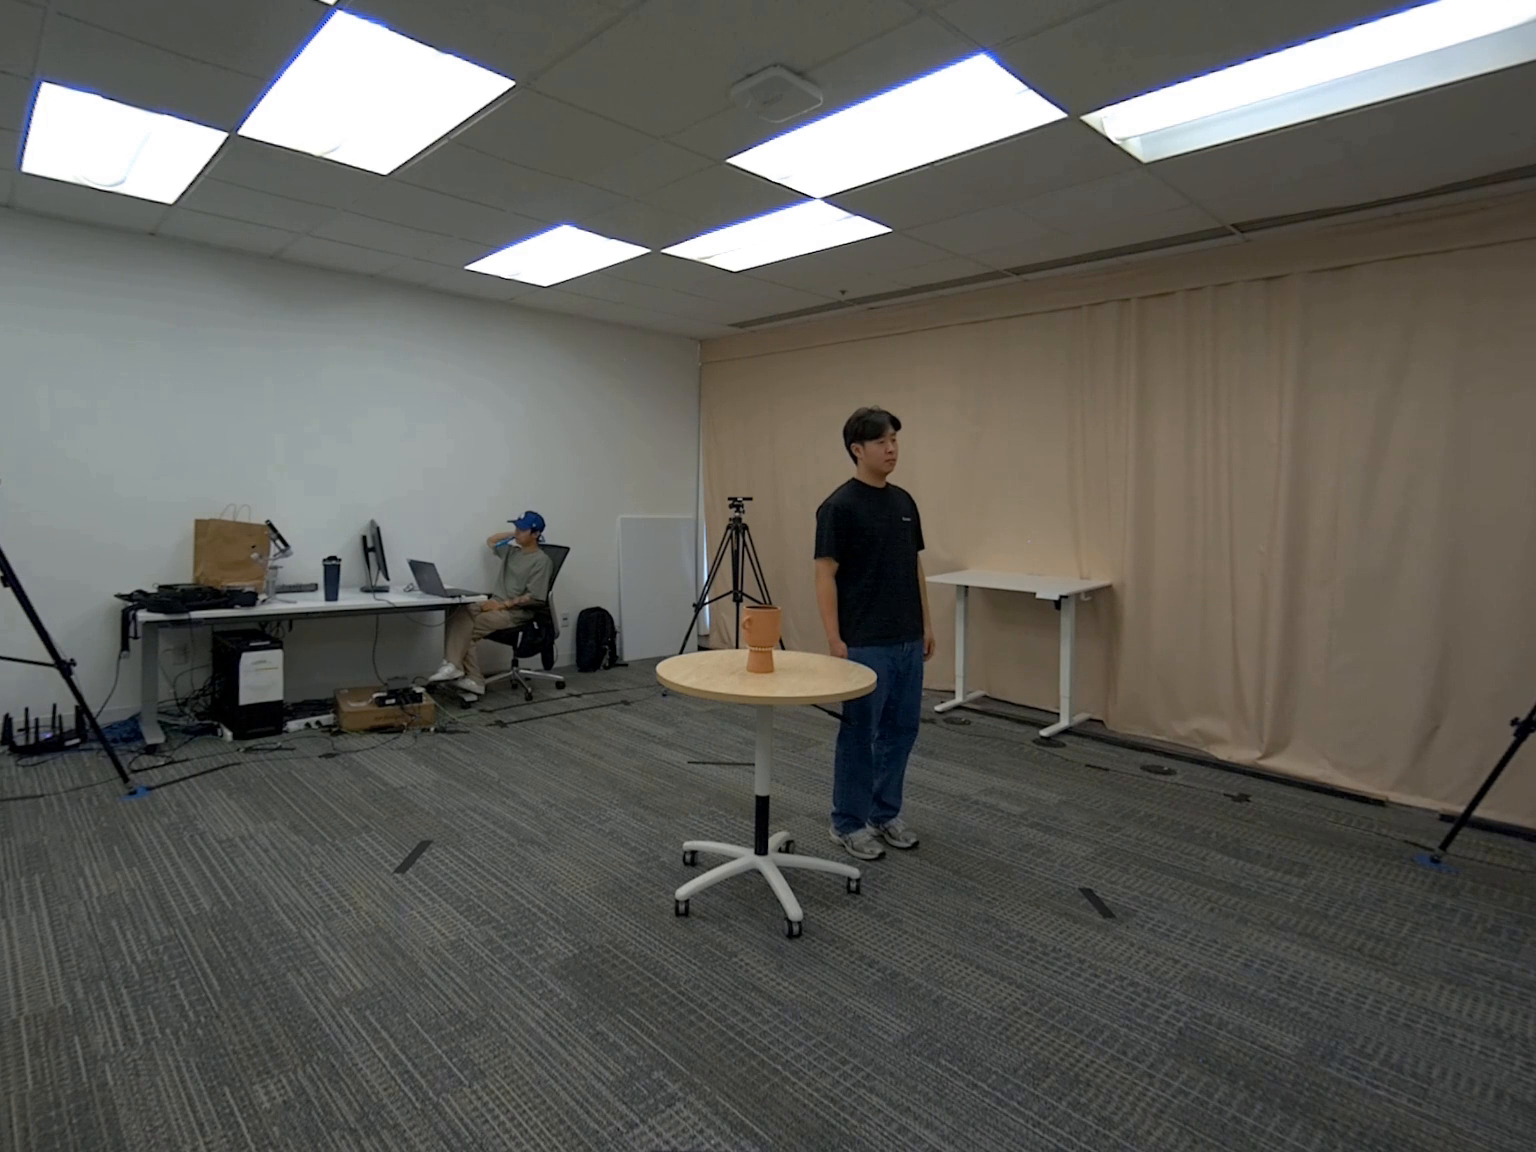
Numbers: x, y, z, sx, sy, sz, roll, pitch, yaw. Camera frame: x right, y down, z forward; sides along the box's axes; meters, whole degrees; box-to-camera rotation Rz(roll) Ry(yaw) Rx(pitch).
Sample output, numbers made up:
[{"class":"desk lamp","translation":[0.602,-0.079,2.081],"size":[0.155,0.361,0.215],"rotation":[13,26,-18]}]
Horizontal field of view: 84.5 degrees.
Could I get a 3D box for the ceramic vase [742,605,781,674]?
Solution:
[{"class":"ceramic vase","translation":[-0.031,0.221,2.917],"size":[0.157,0.219,0.136],"rotation":[2,4,-9]}]
